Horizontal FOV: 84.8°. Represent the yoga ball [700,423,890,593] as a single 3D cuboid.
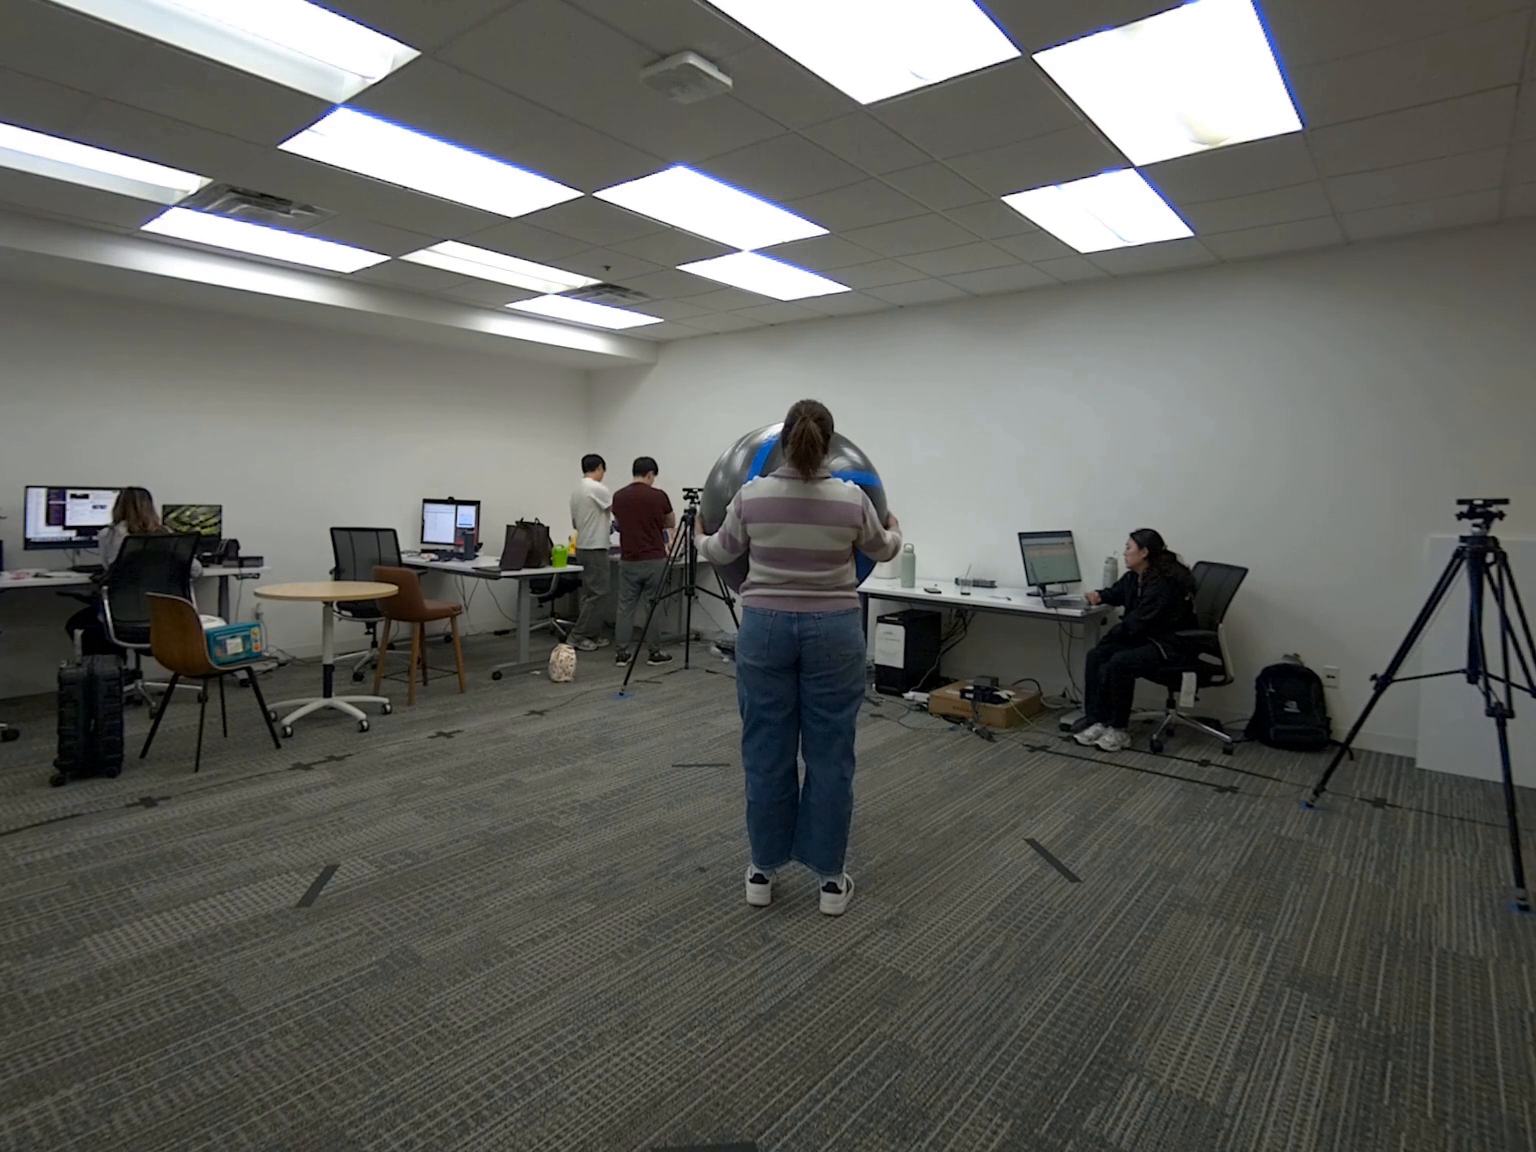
[{"bbox_3d":[0.091,-0.231,3.430,0.757,0.756,0.761,1,4,-2],"label":"yoga ball"}]
